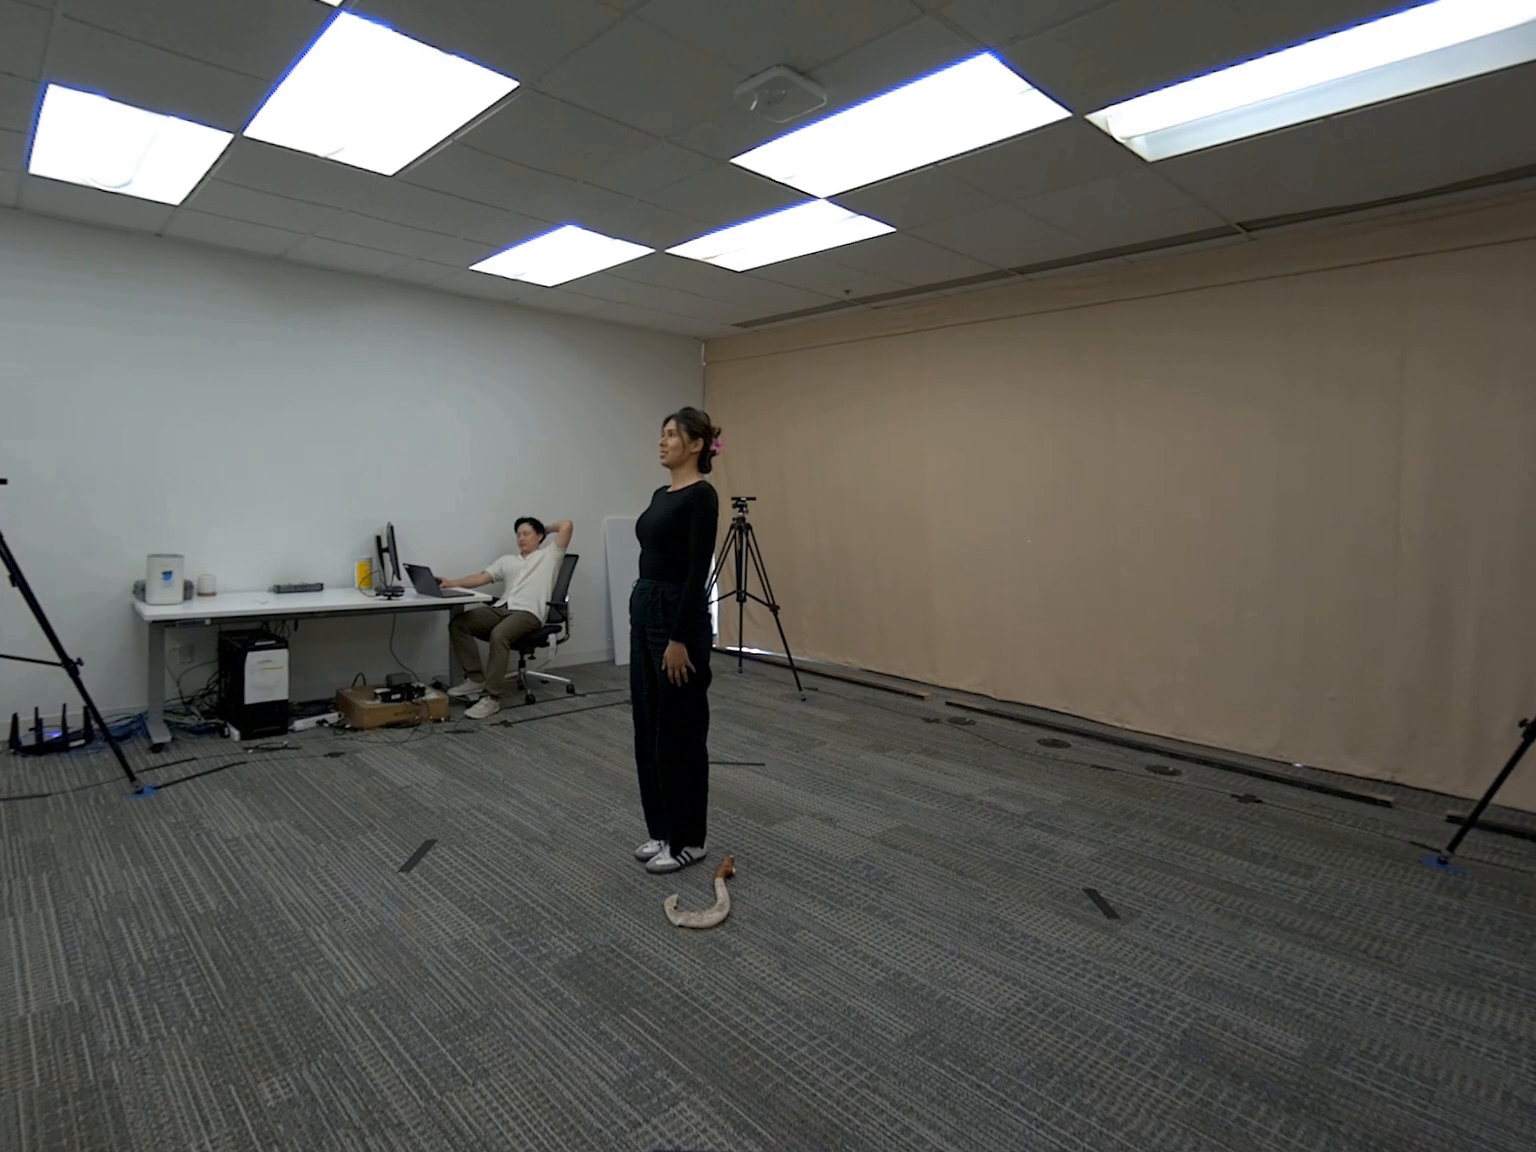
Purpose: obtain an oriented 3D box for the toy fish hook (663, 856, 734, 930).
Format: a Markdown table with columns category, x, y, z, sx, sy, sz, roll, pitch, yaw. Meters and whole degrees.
| category | x | y | z | sx | sy | sz | roll | pitch | yaw |
| --- | --- | --- | --- | --- | --- | --- | --- | --- | --- |
| toy fish hook | -0.229 | 1.097 | 2.952 | 0.226 | 0.048 | 0.505 | 3 | 5 | 6 |
